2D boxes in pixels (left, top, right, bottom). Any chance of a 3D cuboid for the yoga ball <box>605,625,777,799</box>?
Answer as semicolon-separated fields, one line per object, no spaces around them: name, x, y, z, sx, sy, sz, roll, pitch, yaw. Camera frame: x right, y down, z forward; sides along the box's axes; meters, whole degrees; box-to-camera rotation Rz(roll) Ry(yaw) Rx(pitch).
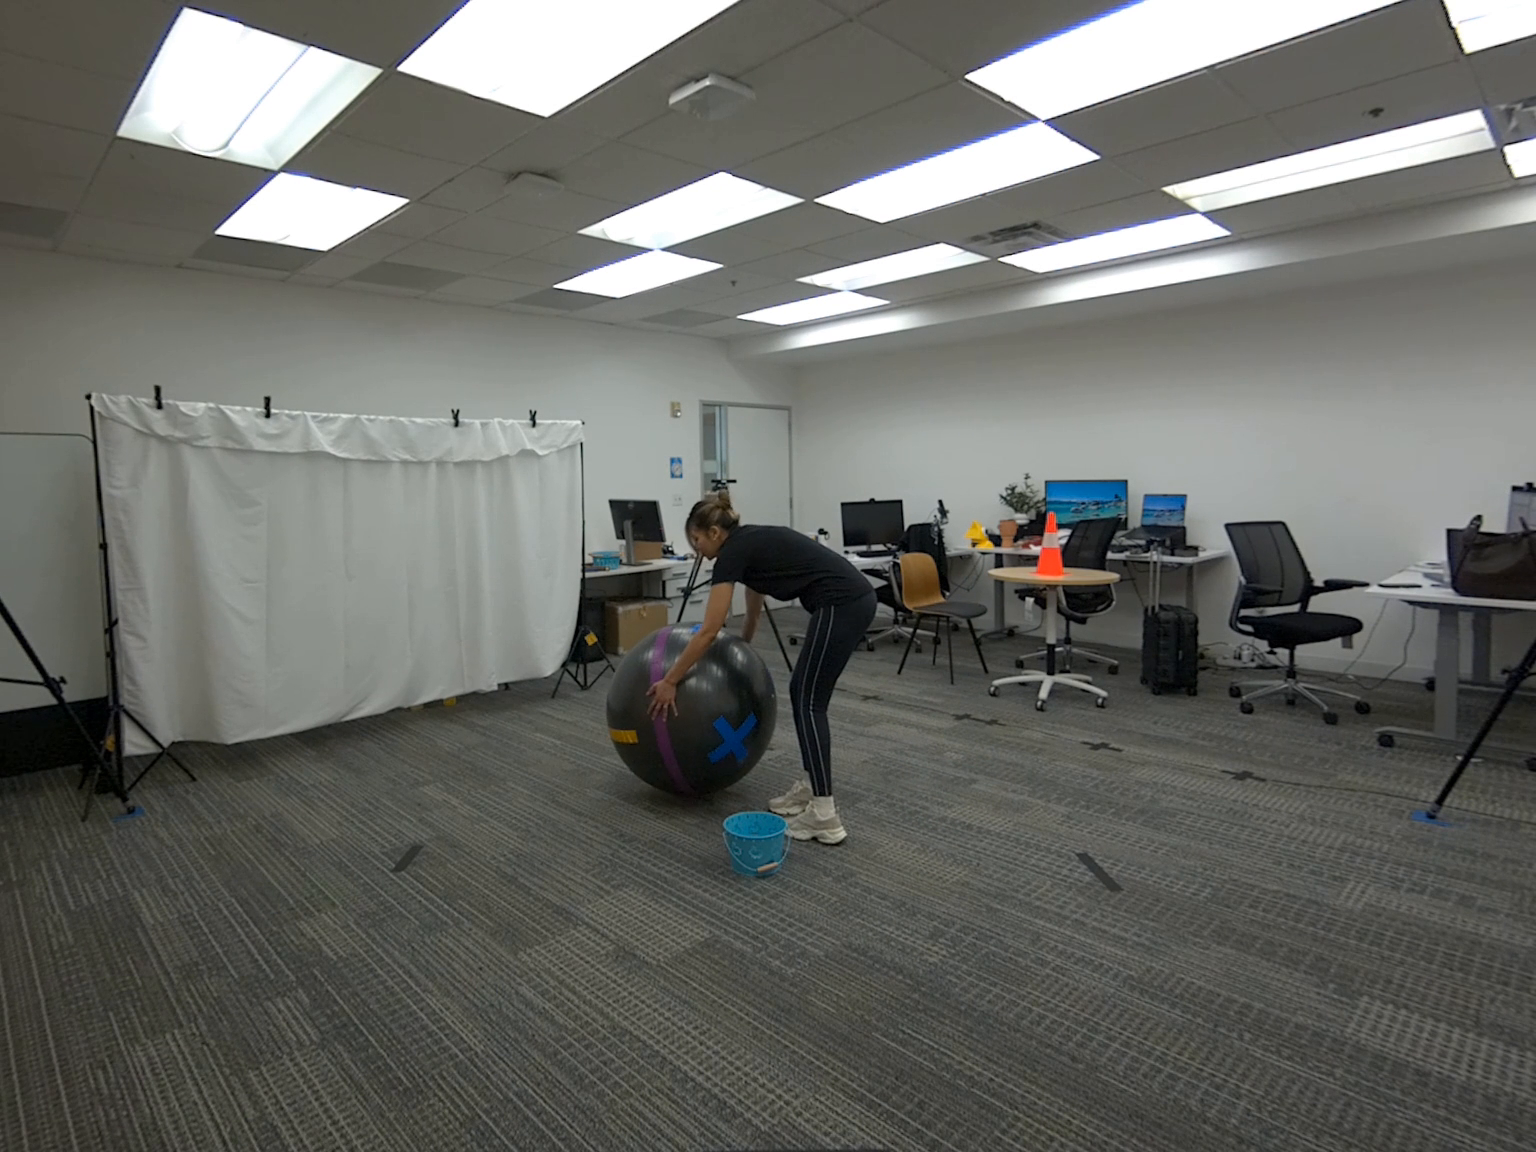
yoga ball;-0.346;0.586;3.805;0.757;0.755;0.762;-1;5;-2
